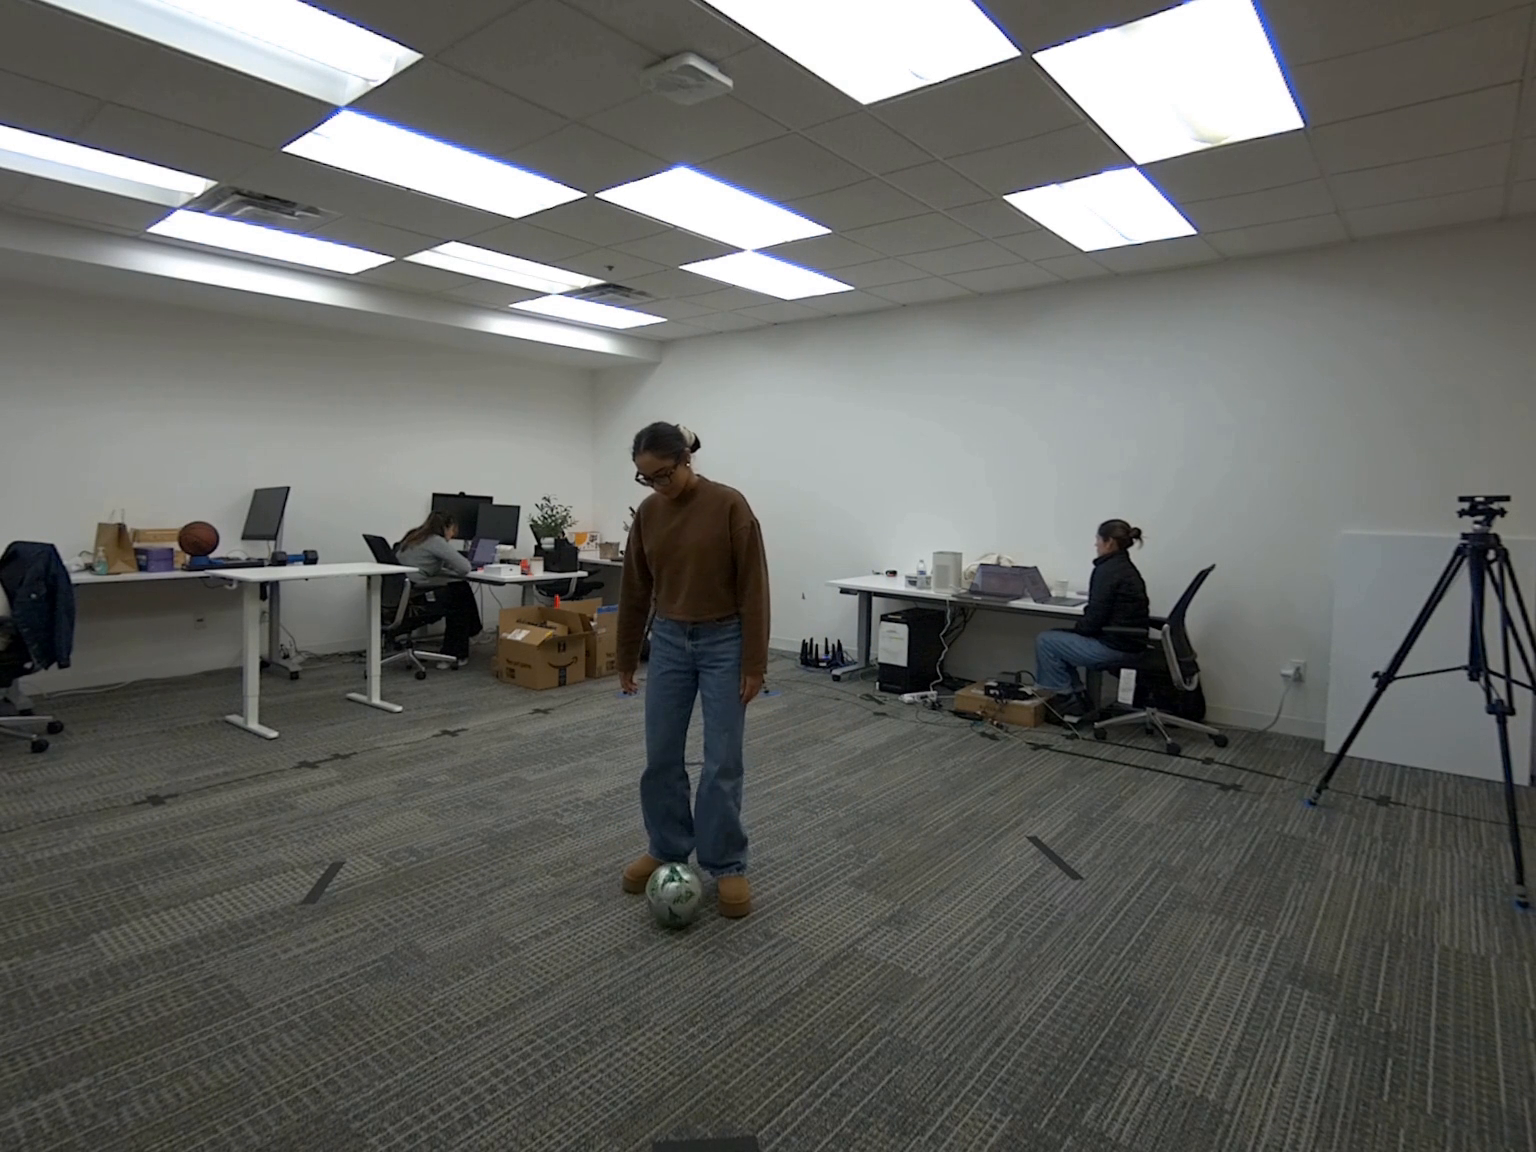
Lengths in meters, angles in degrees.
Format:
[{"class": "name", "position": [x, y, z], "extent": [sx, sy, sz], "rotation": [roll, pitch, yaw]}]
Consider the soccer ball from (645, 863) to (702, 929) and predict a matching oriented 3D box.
[{"class": "soccer ball", "position": [-0.307, 1.006, 2.703], "extent": [0.187, 0.187, 0.188], "rotation": [1, 4, -2]}]
